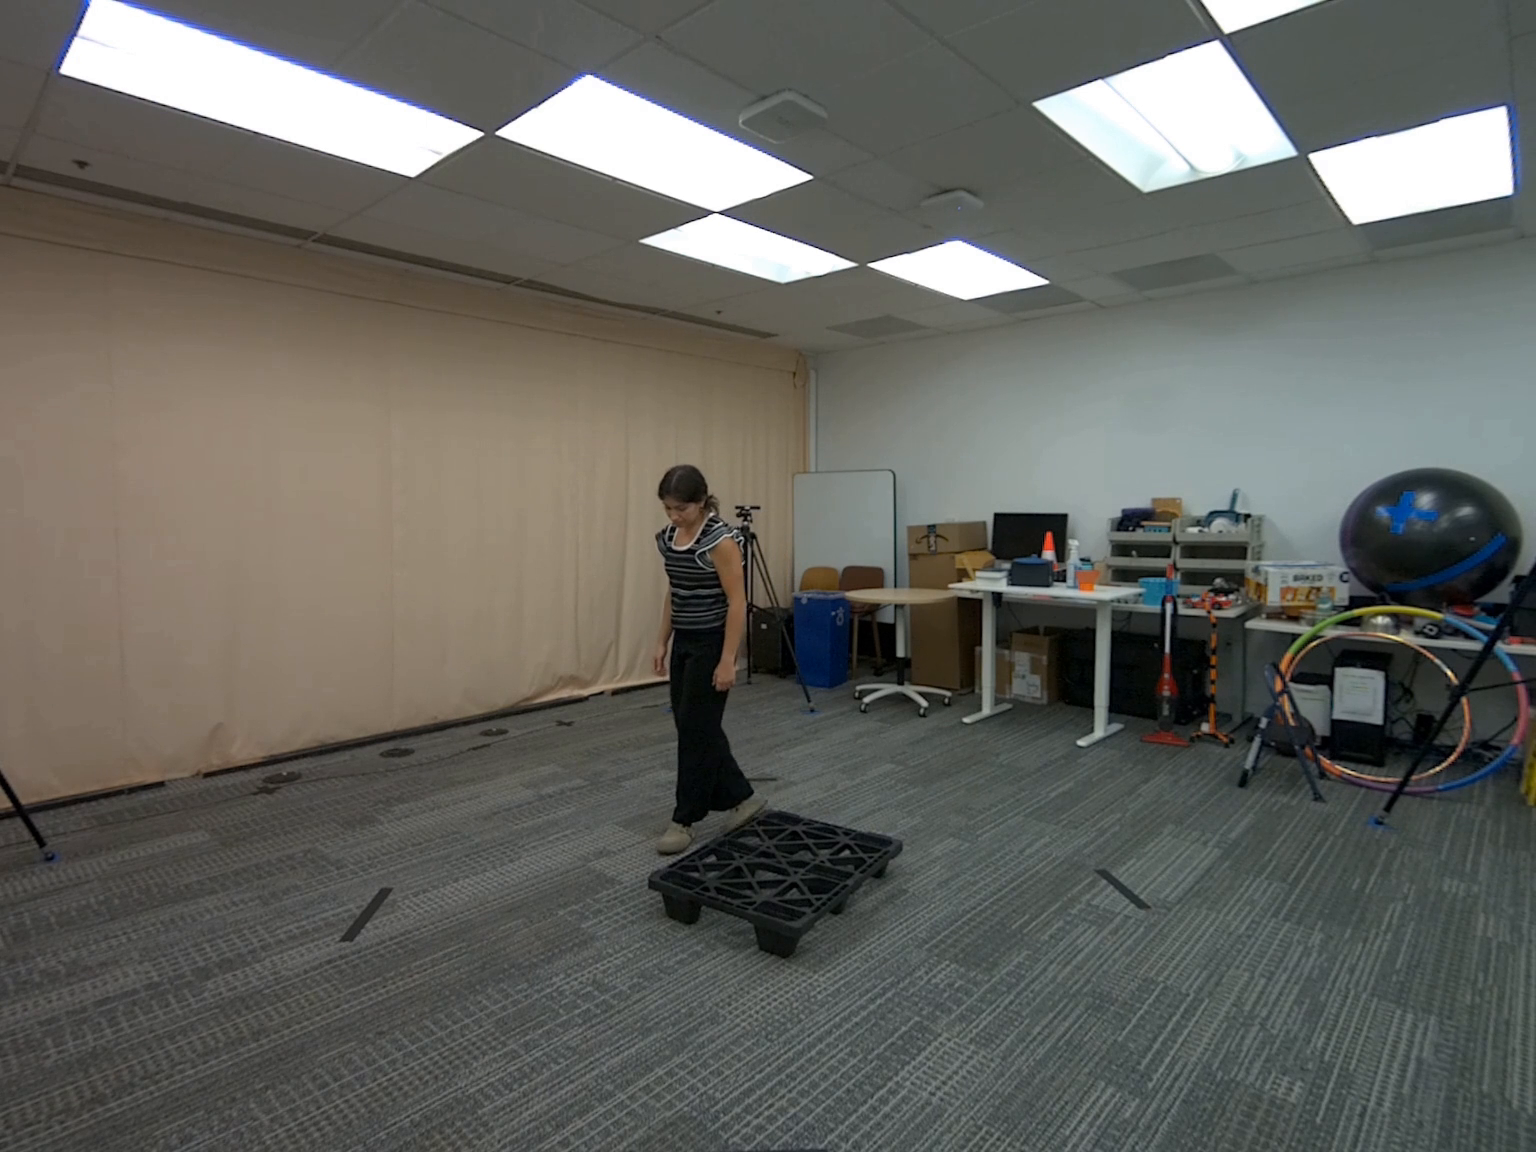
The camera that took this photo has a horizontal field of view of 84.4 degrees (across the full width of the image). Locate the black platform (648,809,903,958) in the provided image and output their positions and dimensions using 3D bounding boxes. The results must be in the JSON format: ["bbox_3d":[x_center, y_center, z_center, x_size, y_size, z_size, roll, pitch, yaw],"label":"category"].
[{"bbox_3d":[0.060,1.074,3.010,0.624,0.143,0.783,4,6,33],"label":"black platform"}]
